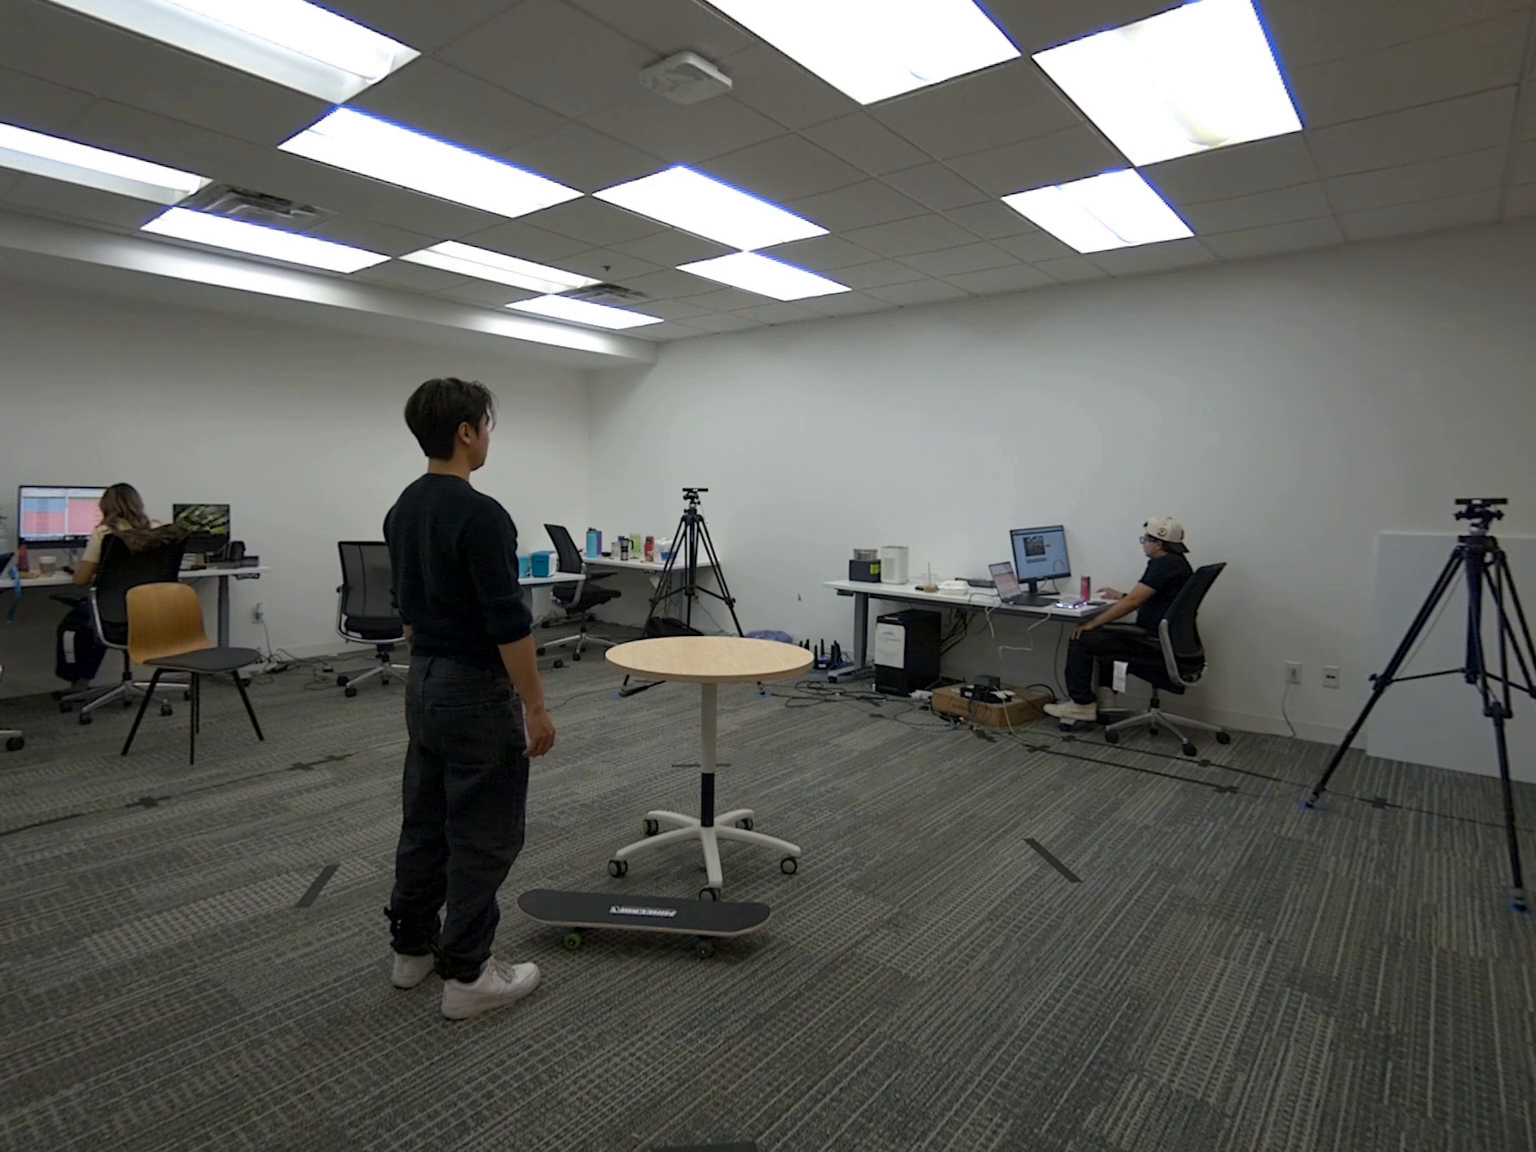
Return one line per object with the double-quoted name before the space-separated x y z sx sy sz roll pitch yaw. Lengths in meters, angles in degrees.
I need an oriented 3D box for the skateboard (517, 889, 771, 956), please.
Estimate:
"skateboard" -0.392 1.058 2.612 0.790 0.110 0.193 1 5 5
